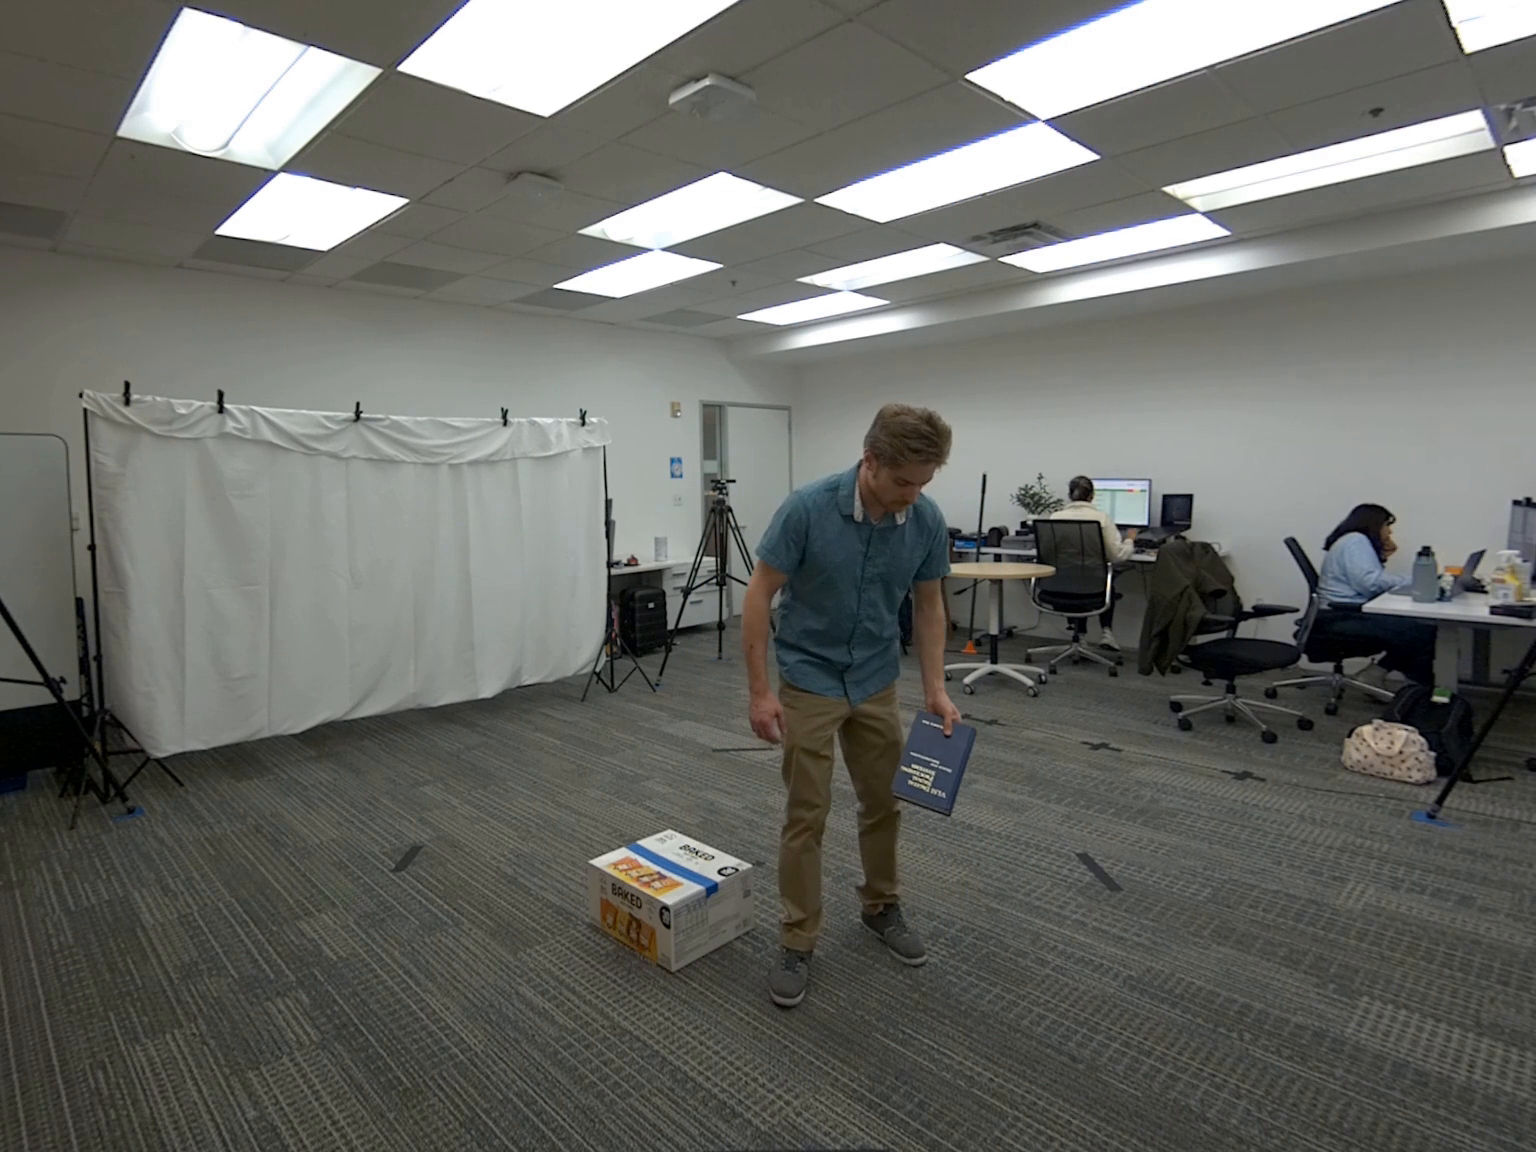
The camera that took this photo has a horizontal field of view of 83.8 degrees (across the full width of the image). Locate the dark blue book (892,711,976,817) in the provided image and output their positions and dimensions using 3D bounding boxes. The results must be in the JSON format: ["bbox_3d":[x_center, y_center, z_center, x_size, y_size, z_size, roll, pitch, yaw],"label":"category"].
[{"bbox_3d":[0.447,0.503,2.301,0.168,0.247,0.043,13,-30,25],"label":"dark blue book"}]
